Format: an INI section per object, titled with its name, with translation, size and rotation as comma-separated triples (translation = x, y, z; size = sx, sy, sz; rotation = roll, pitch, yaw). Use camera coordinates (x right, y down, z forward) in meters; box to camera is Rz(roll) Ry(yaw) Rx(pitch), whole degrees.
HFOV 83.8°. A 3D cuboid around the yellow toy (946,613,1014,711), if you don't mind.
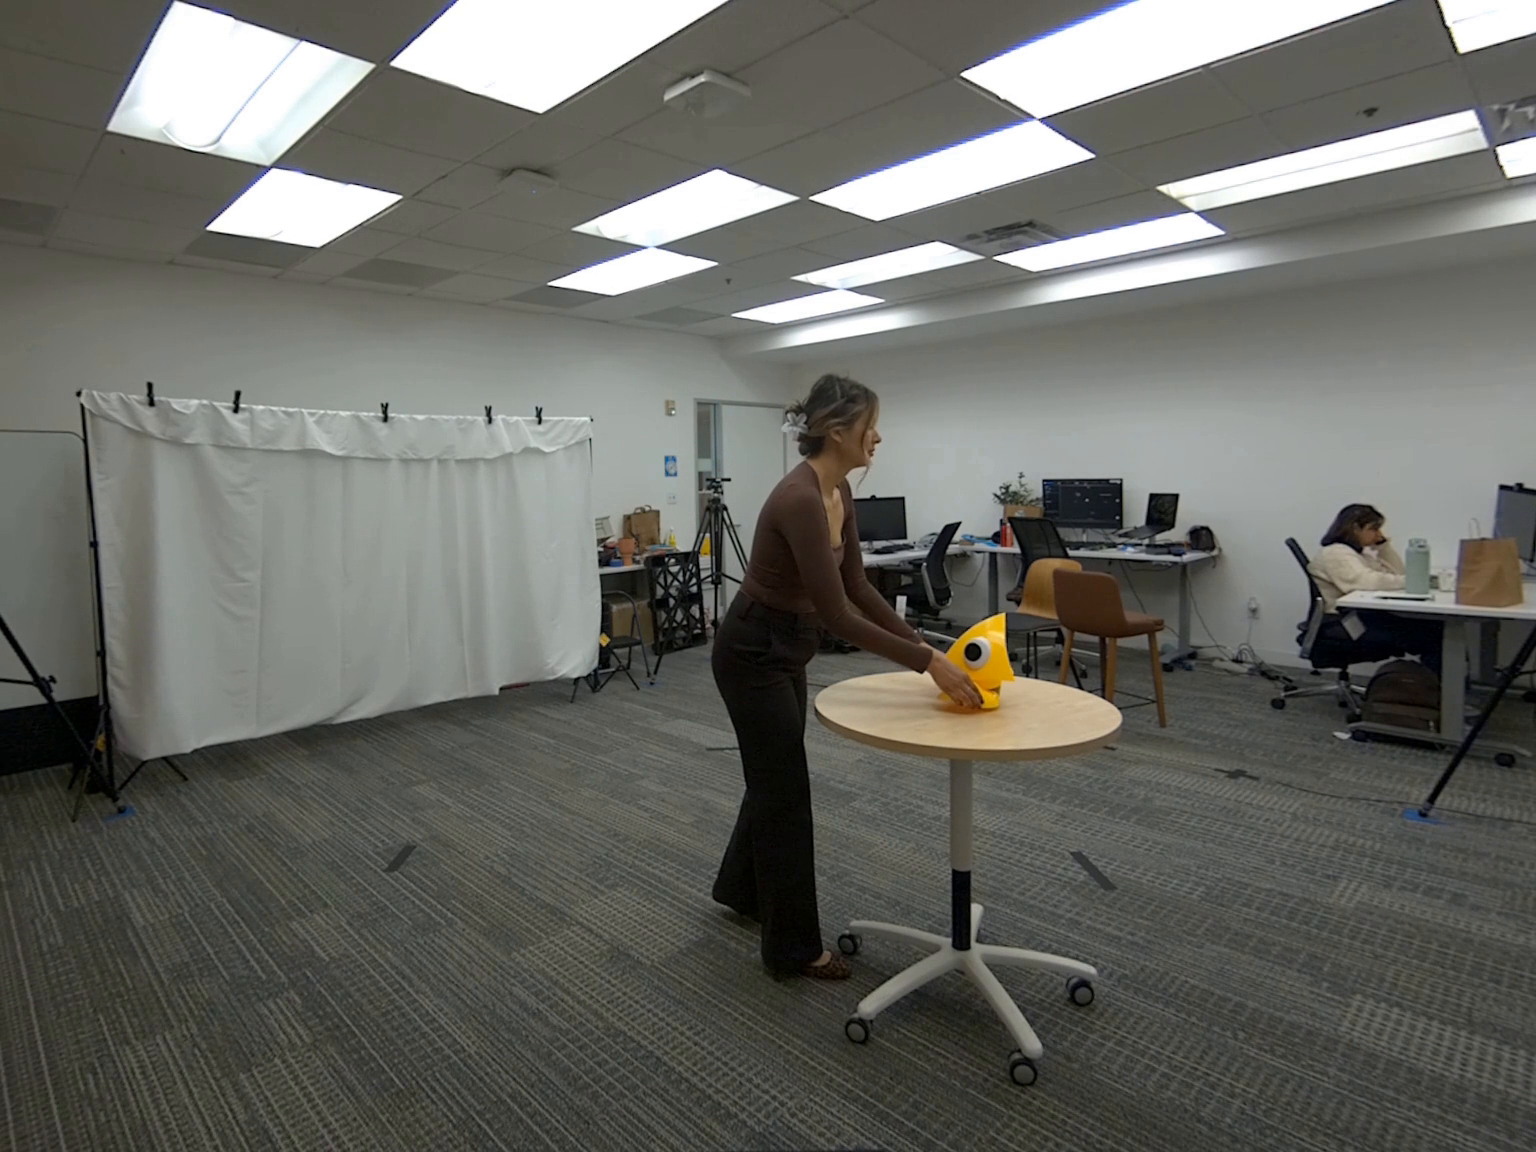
[yellow toy]
translation = 0.544, 0.203, 2.237
size = 0.195, 0.230, 0.204
rotation = 7, 6, 8
